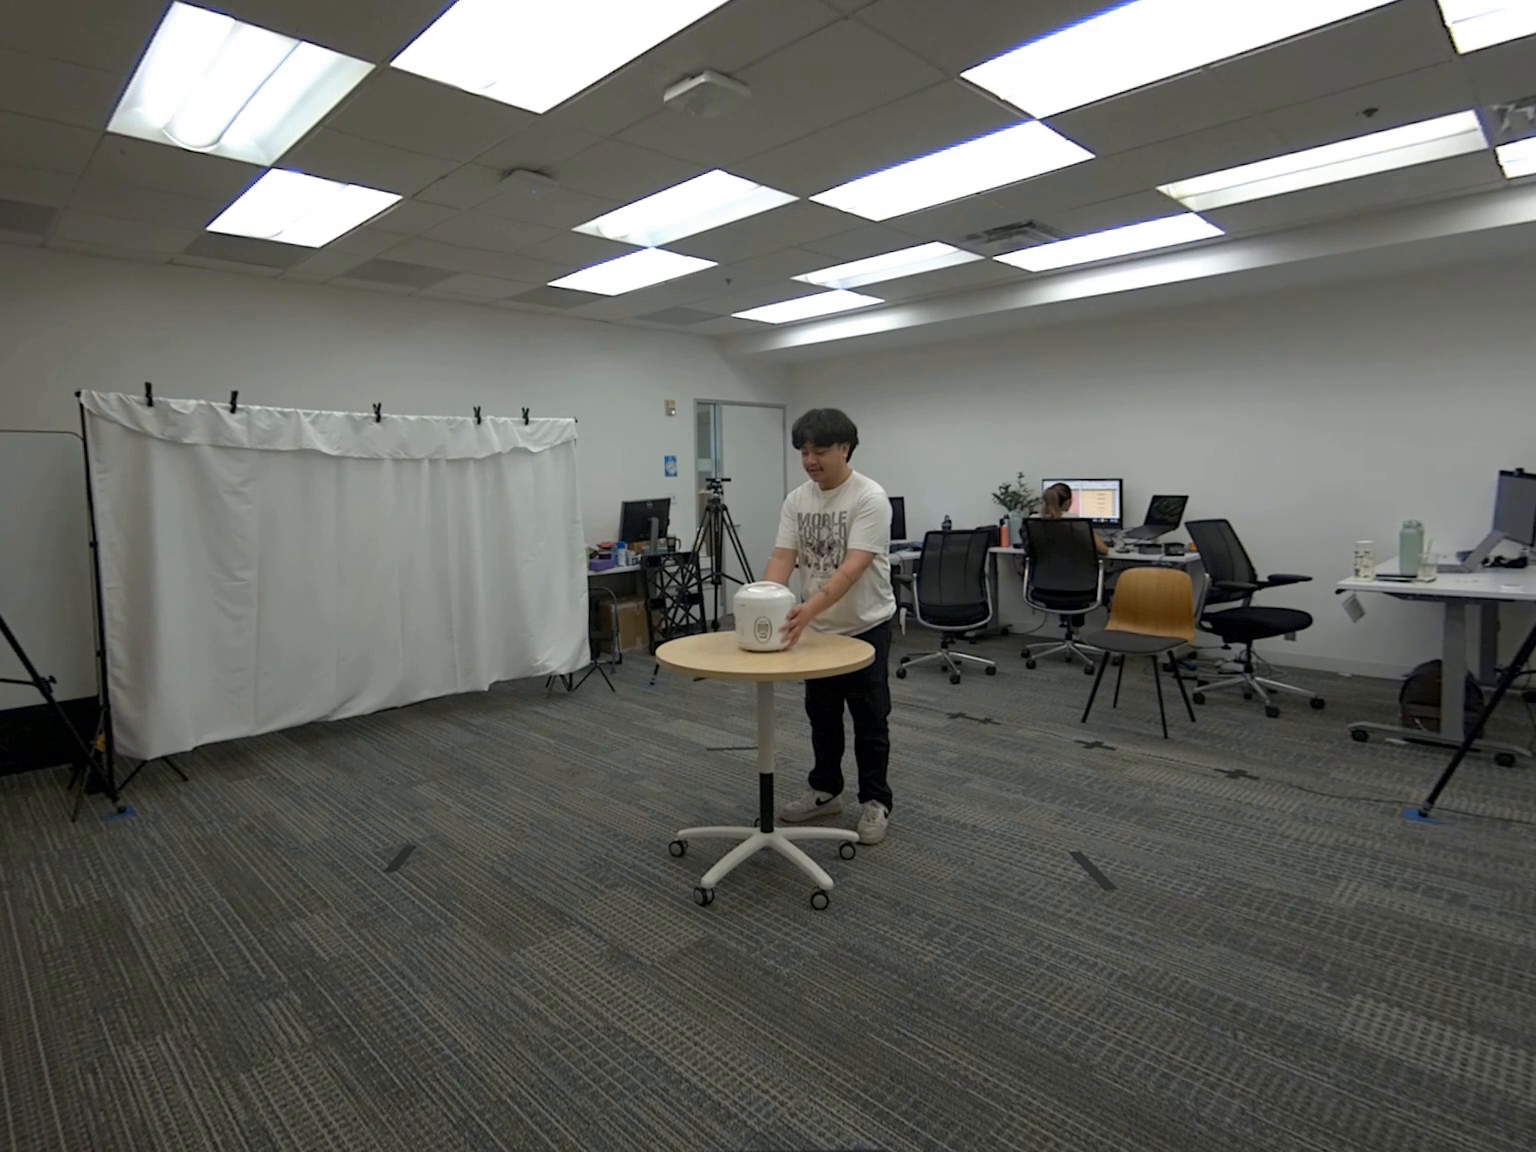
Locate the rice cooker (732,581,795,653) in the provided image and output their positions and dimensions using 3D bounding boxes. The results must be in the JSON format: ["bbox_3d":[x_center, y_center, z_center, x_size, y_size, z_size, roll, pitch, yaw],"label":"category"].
[{"bbox_3d":[-0.011,0.133,2.997,0.221,0.232,0.217,-2,3,3],"label":"rice cooker"}]
